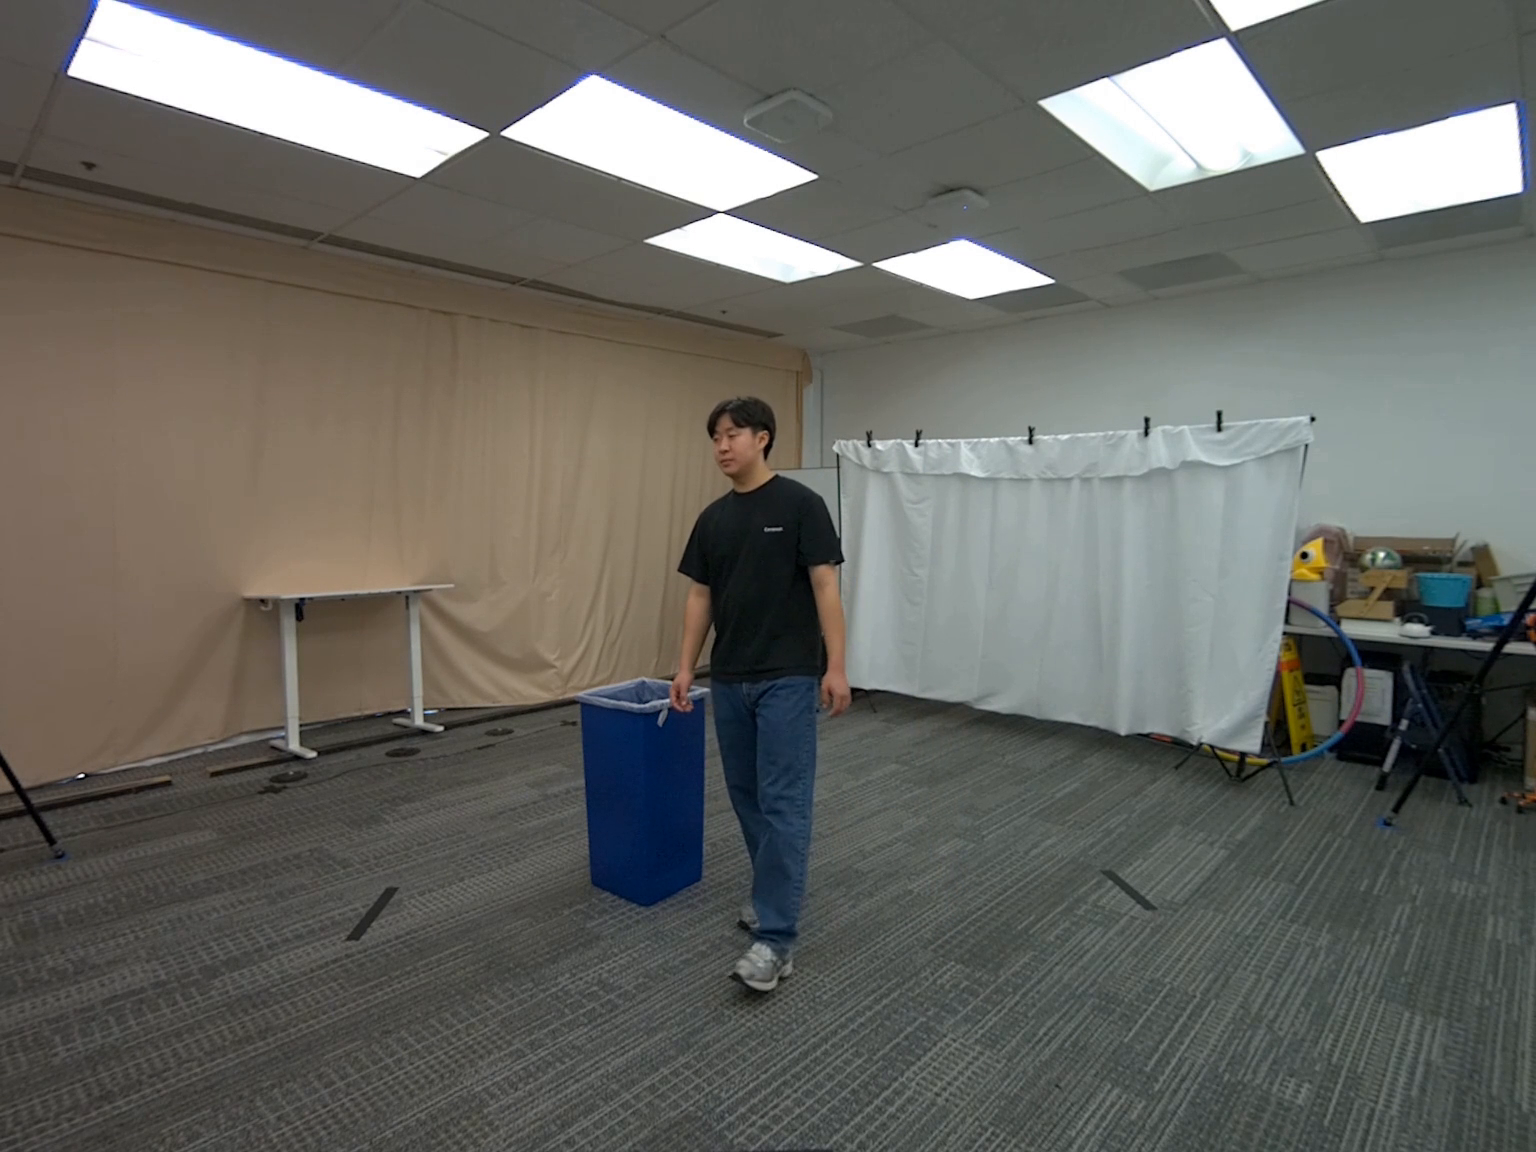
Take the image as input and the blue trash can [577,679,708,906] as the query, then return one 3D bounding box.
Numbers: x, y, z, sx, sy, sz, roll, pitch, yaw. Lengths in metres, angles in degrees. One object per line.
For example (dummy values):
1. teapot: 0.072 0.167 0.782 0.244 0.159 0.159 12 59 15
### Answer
1. blue trash can: -0.461 0.779 3.115 0.386 0.712 0.366 2 3 39
